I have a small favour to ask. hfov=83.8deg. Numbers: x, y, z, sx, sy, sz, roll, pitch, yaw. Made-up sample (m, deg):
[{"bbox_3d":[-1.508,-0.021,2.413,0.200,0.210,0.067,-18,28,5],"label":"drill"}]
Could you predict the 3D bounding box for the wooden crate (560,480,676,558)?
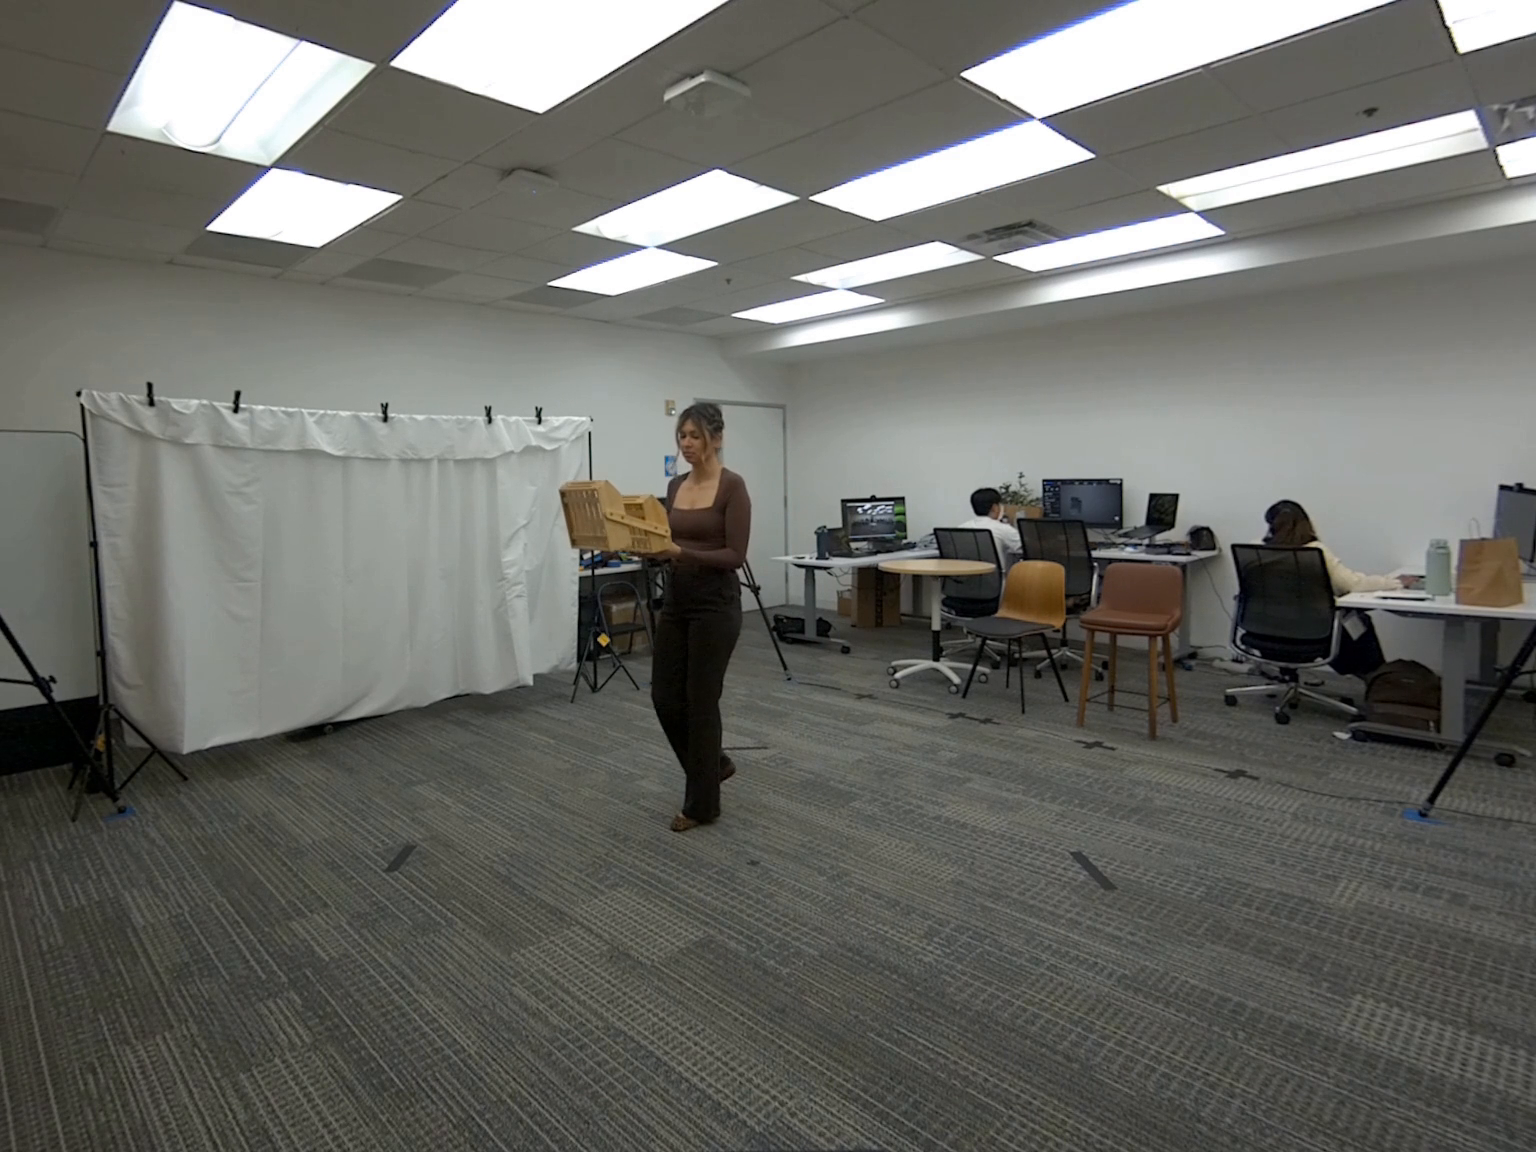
[{"bbox_3d":[-0.562,-0.228,3.187,0.268,0.299,0.334,-18,14,-36],"label":"wooden crate"}]
